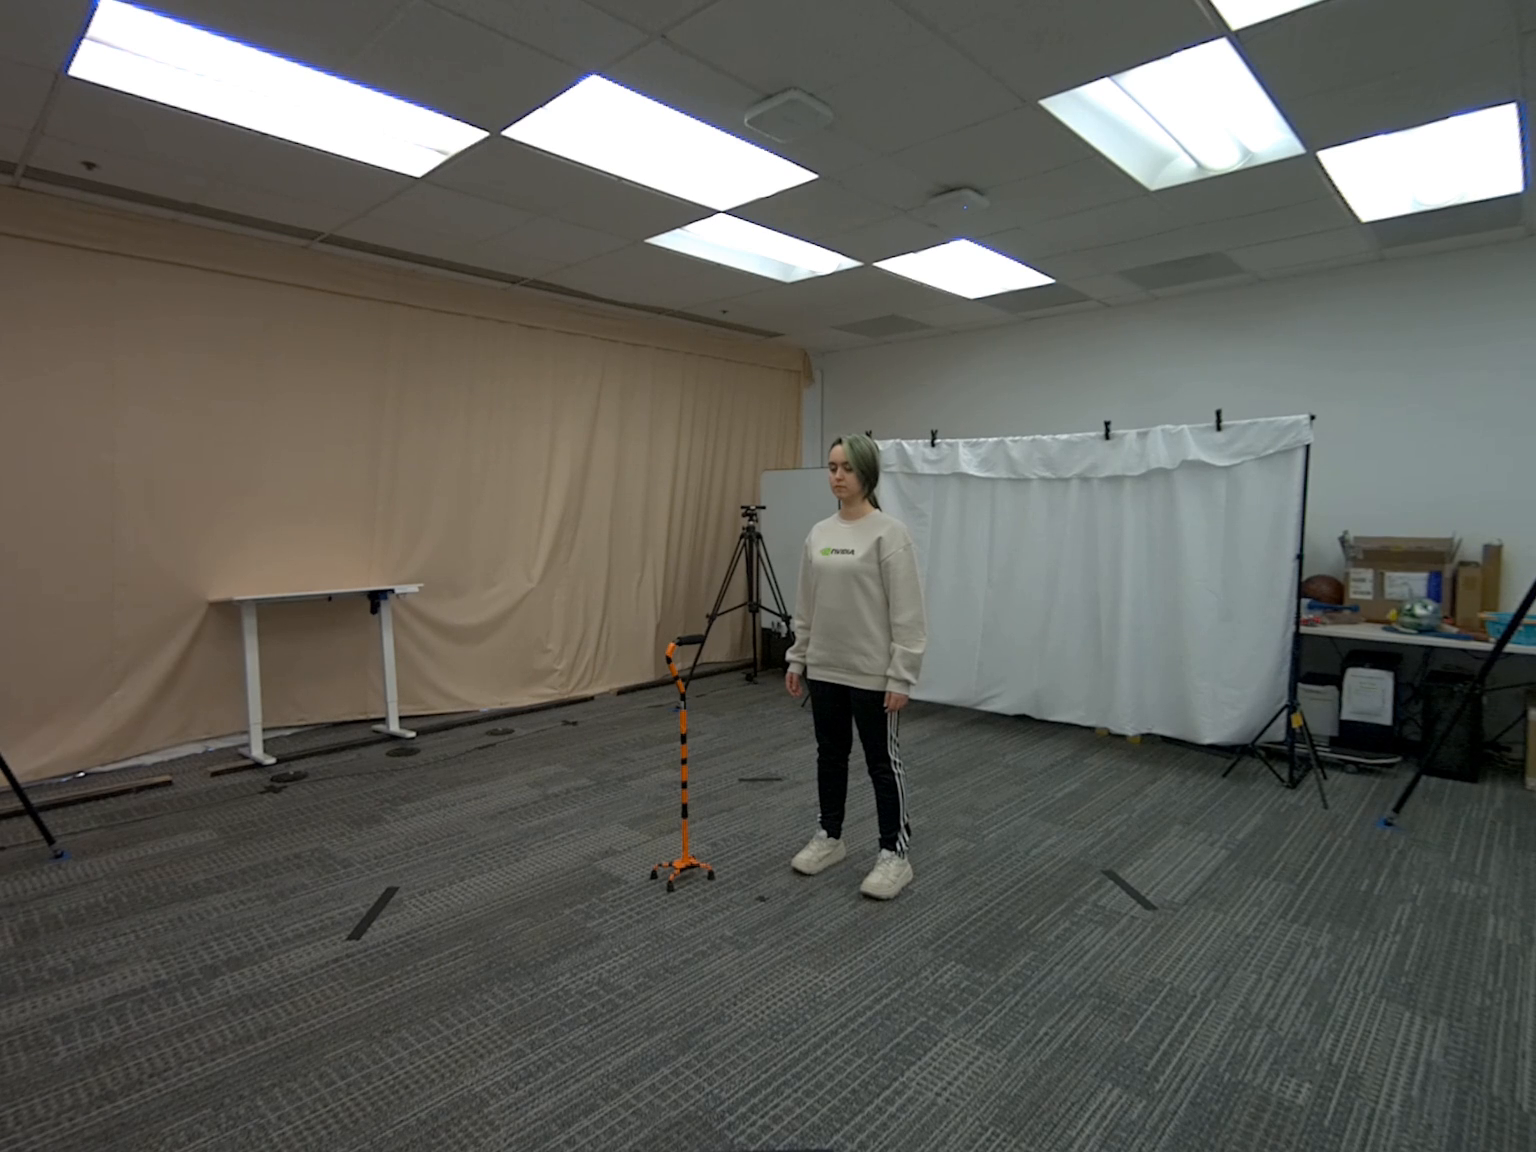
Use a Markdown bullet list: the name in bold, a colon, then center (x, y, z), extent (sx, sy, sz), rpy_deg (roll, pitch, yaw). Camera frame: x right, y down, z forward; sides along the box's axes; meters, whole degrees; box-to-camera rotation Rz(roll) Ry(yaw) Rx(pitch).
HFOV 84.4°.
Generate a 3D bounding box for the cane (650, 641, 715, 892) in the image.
- **cane**: center (-0.322, 0.680, 3.127), extent (0.200, 0.906, 0.156), rpy_deg (-2, 3, -35)
